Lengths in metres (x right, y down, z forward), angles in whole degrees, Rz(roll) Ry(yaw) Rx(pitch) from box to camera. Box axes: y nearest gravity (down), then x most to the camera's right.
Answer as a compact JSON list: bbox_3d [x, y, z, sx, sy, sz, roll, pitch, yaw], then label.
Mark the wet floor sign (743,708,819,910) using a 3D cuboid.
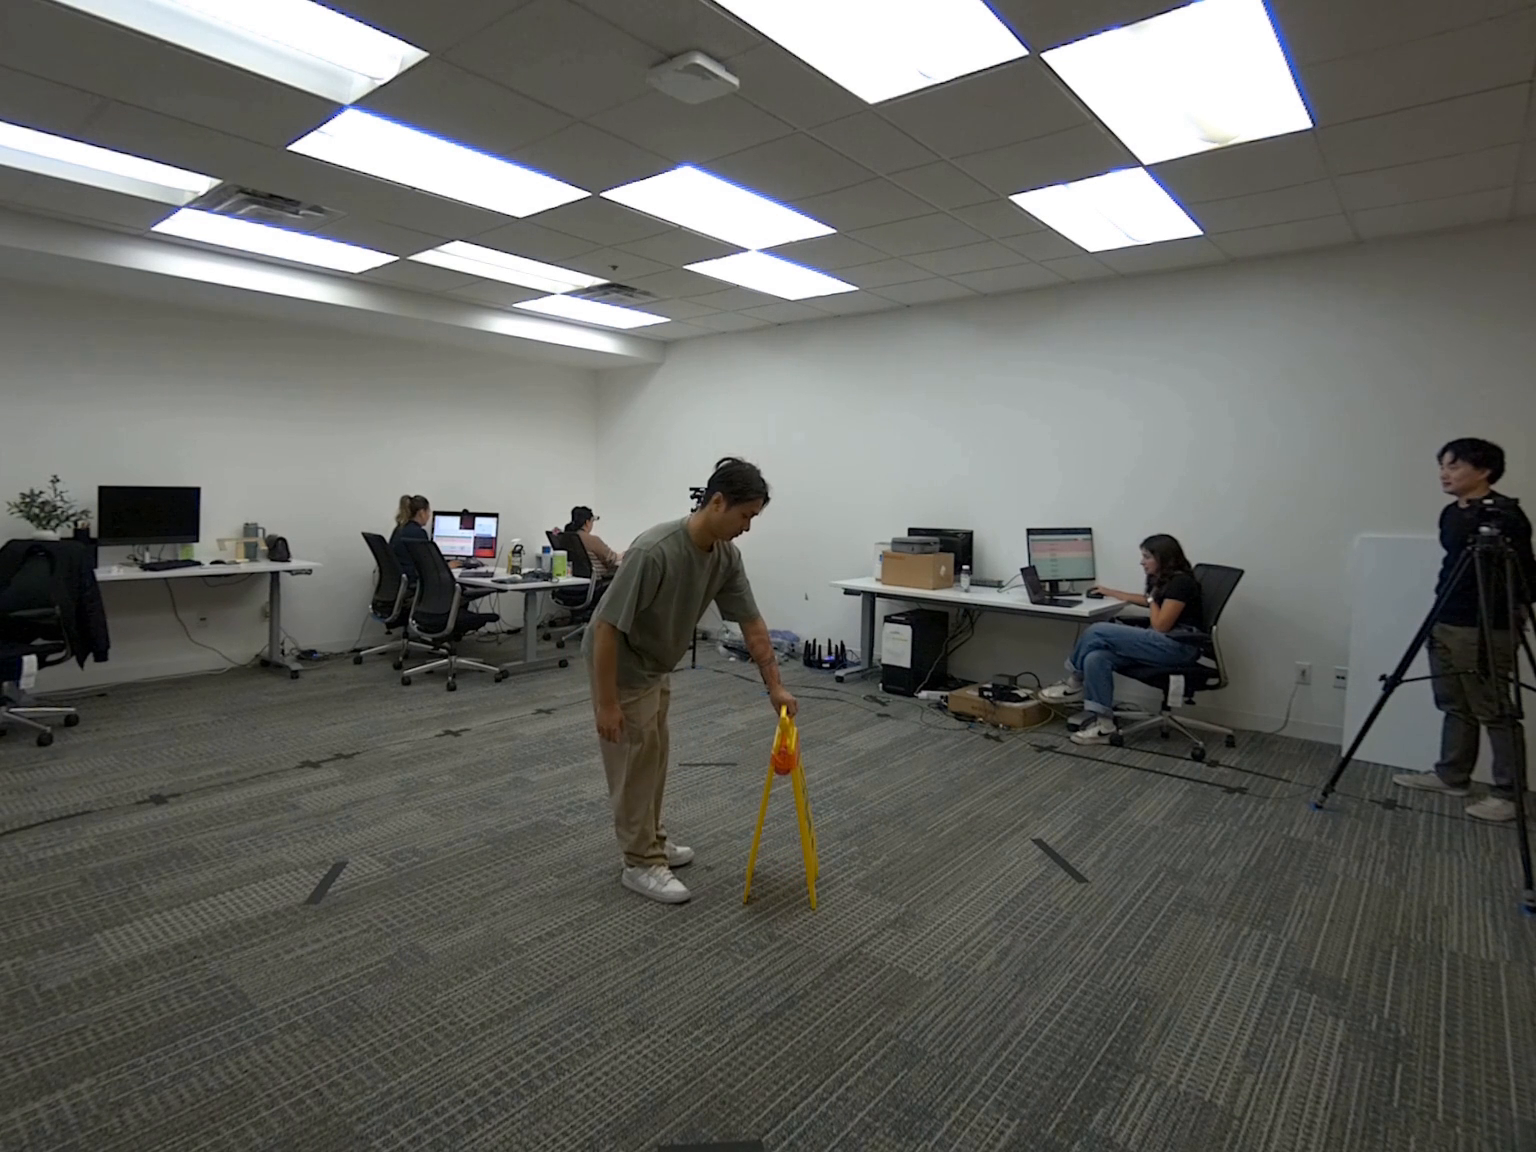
[{"bbox_3d":[0.051,0.764,2.914,0.292,0.640,0.283,5,10,5],"label":"wet floor sign"}]
